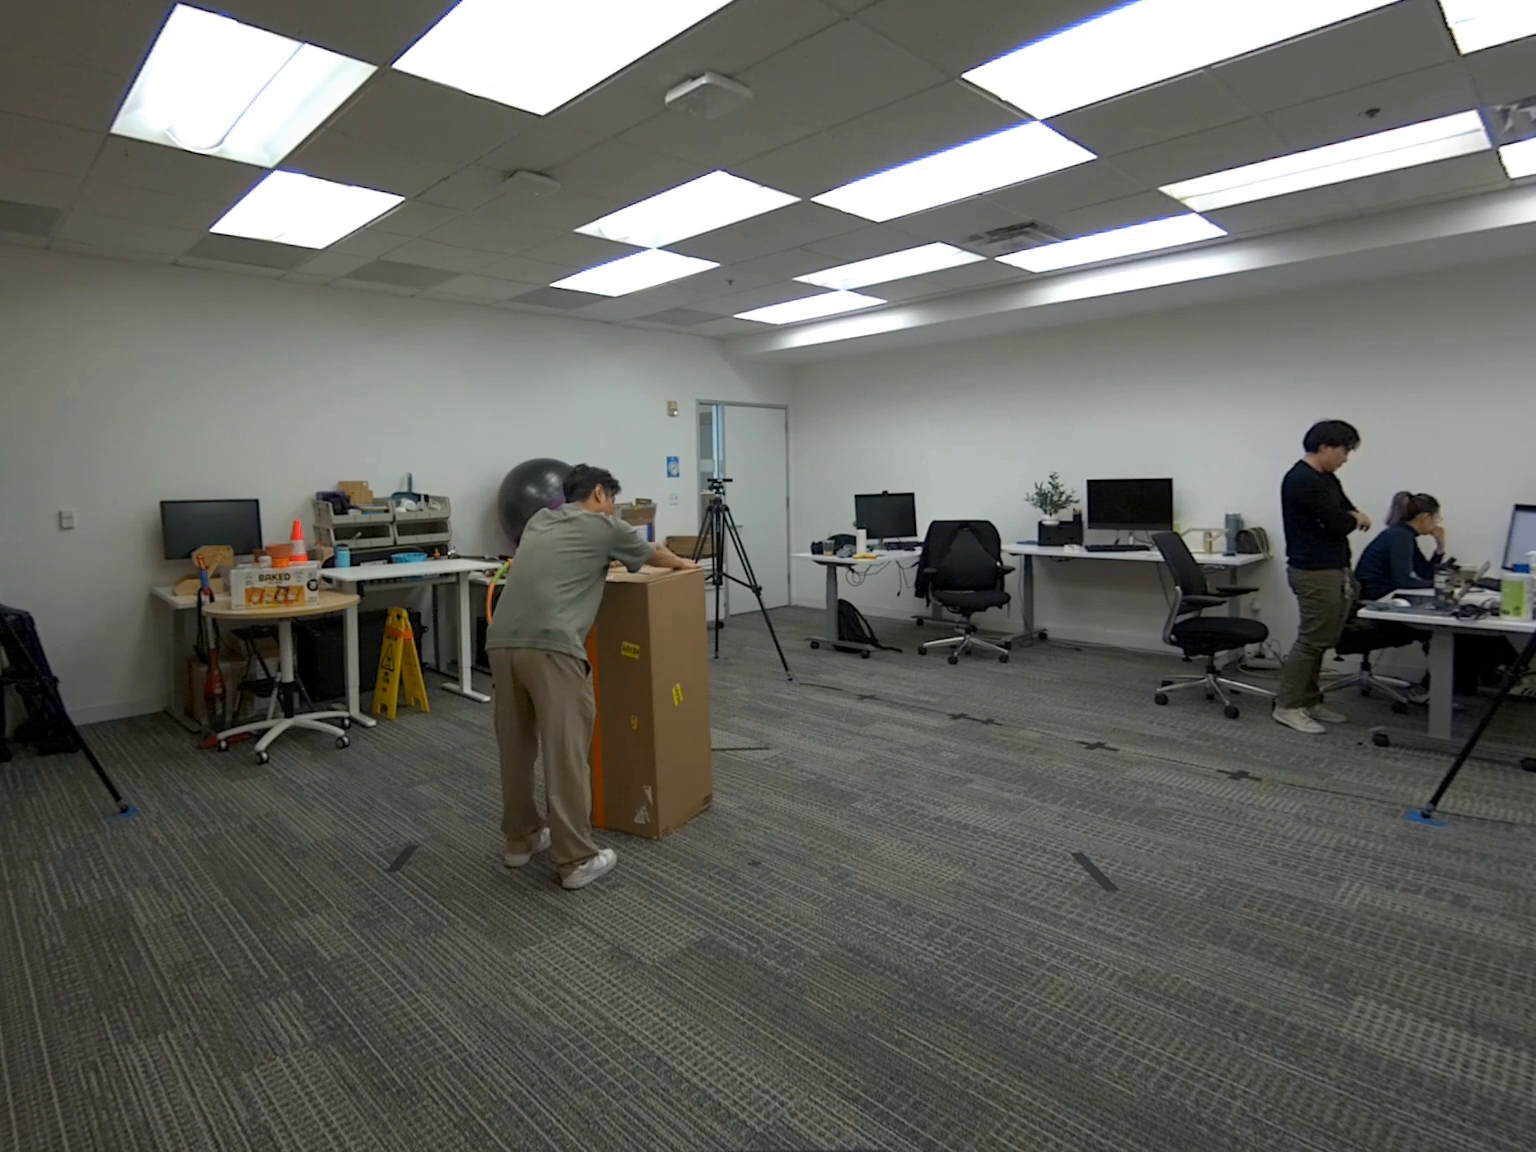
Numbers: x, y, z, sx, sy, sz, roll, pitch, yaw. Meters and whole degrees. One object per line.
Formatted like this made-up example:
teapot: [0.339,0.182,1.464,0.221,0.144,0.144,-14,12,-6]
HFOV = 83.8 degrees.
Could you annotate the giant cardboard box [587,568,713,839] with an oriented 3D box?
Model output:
giant cardboard box: [-0.591,0.484,3.583,0.593,1.020,0.417,2,7,30]
